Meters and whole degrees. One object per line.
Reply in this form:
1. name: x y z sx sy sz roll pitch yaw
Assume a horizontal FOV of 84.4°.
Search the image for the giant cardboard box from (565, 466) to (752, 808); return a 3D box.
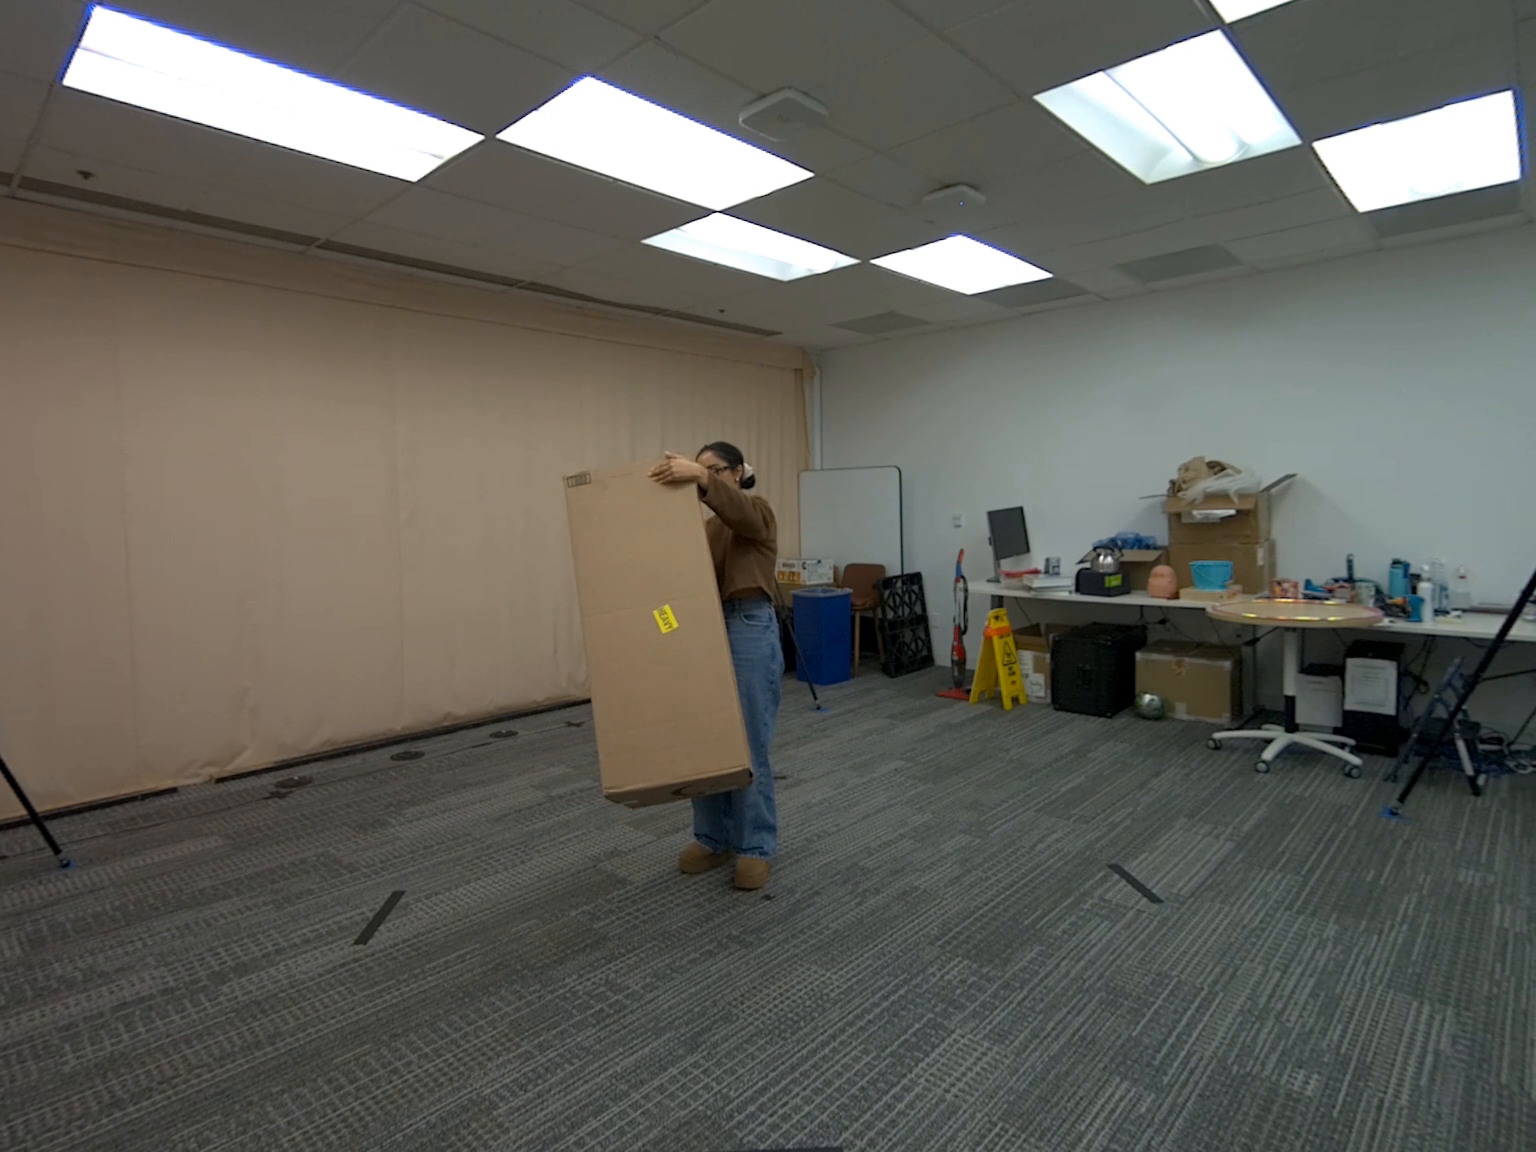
1. giant cardboard box: -0.362 0.202 2.820 0.425 1.042 0.569 -10 -20 -3
